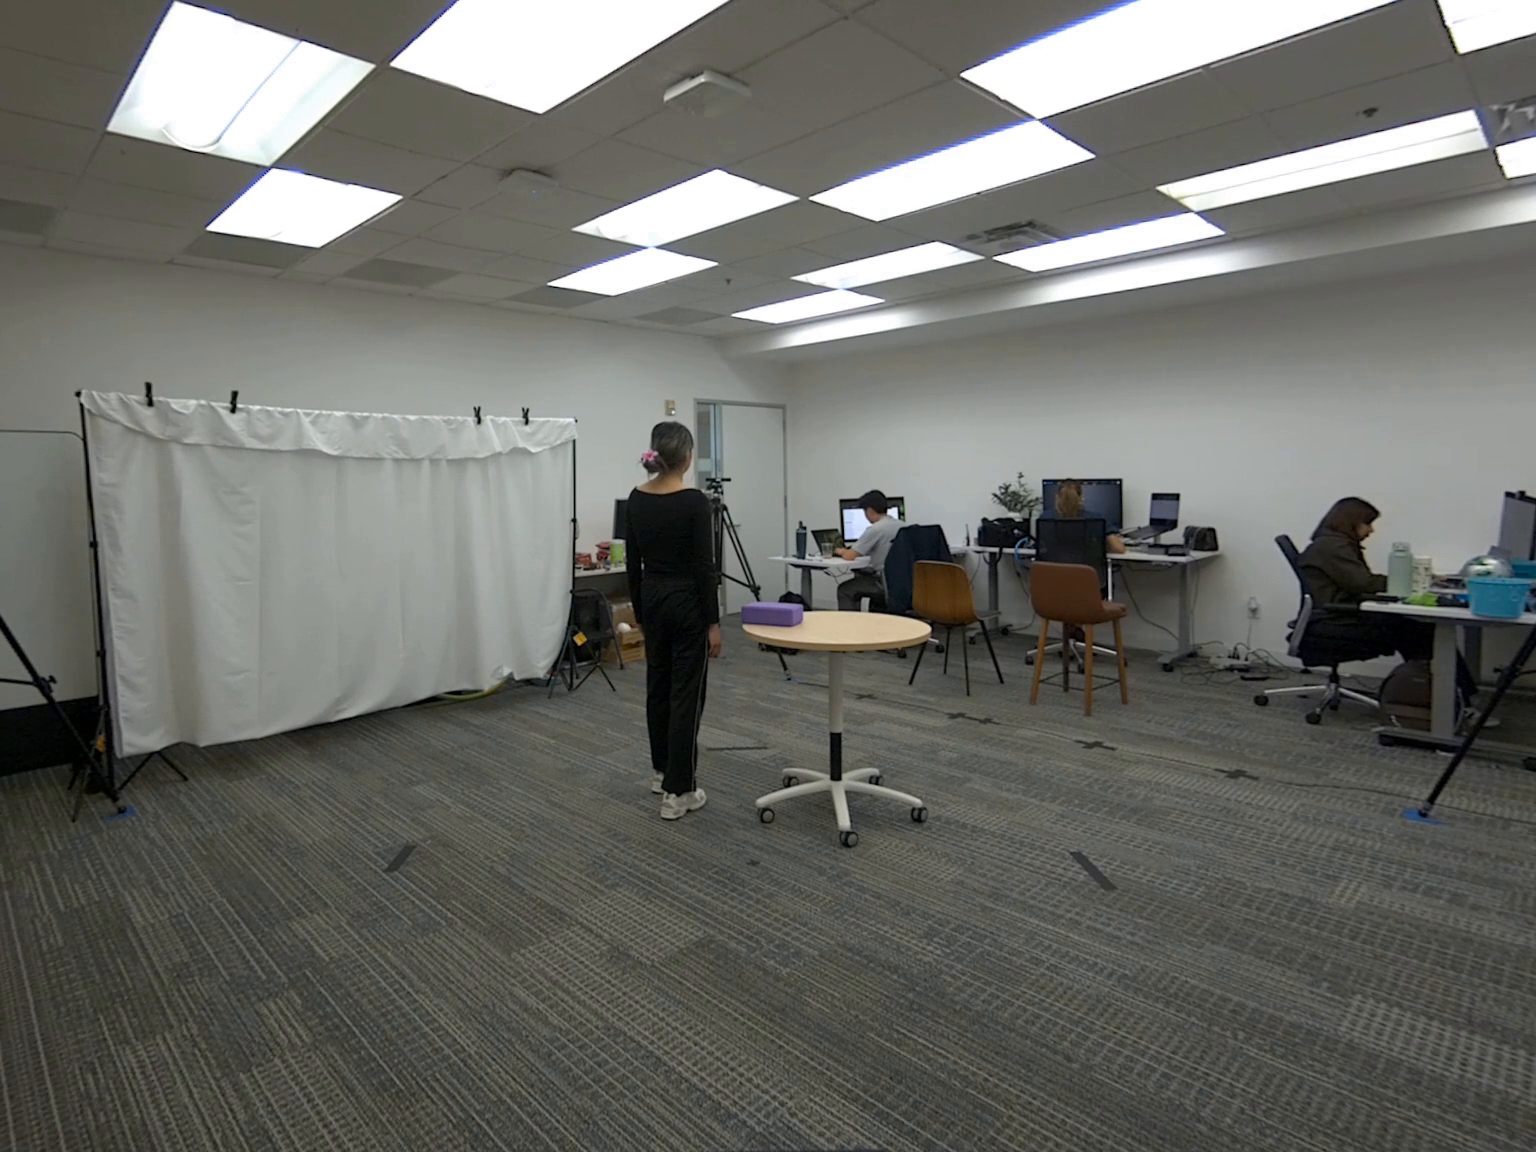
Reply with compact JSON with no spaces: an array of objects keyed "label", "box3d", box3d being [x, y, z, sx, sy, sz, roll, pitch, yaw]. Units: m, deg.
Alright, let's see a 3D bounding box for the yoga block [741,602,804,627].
[{"label":"yoga block","box3d":[0.026,0.161,3.600,0.235,0.076,0.146,3,6,25]}]
